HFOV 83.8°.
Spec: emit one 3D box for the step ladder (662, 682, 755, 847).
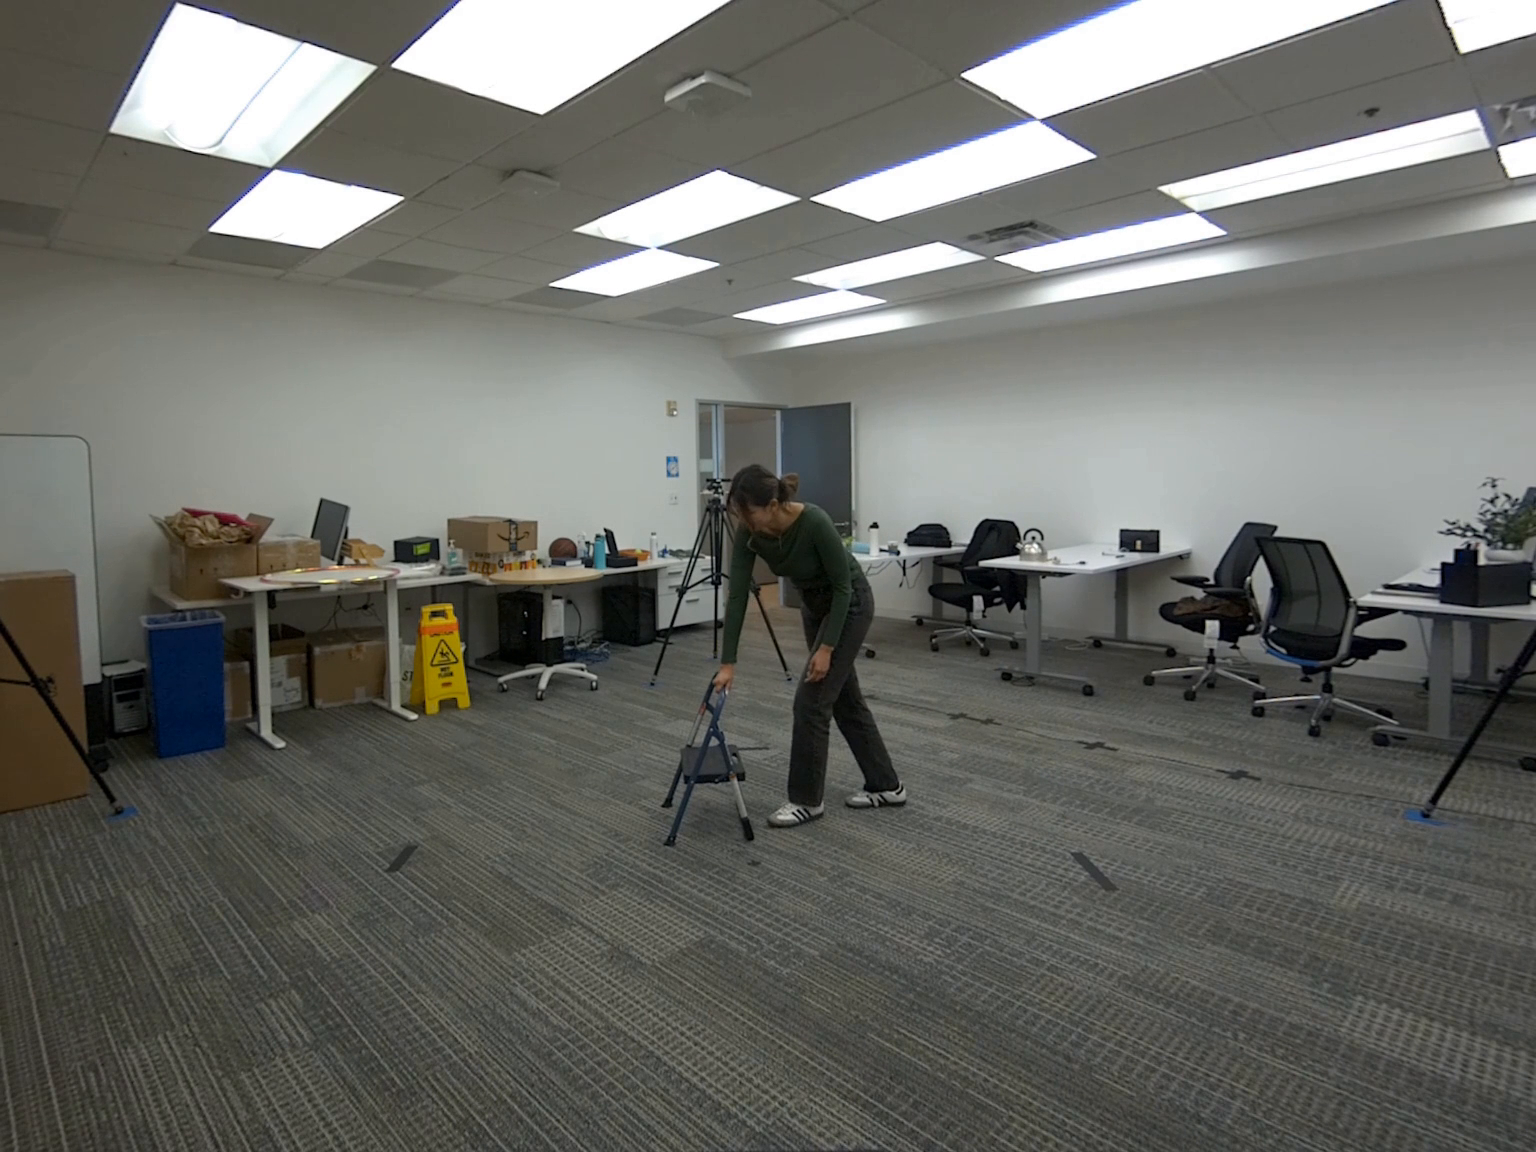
[{"bbox_3d":[-0.252,0.705,3.463,0.347,0.604,0.435,-1,4,-7],"label":"step ladder"}]
